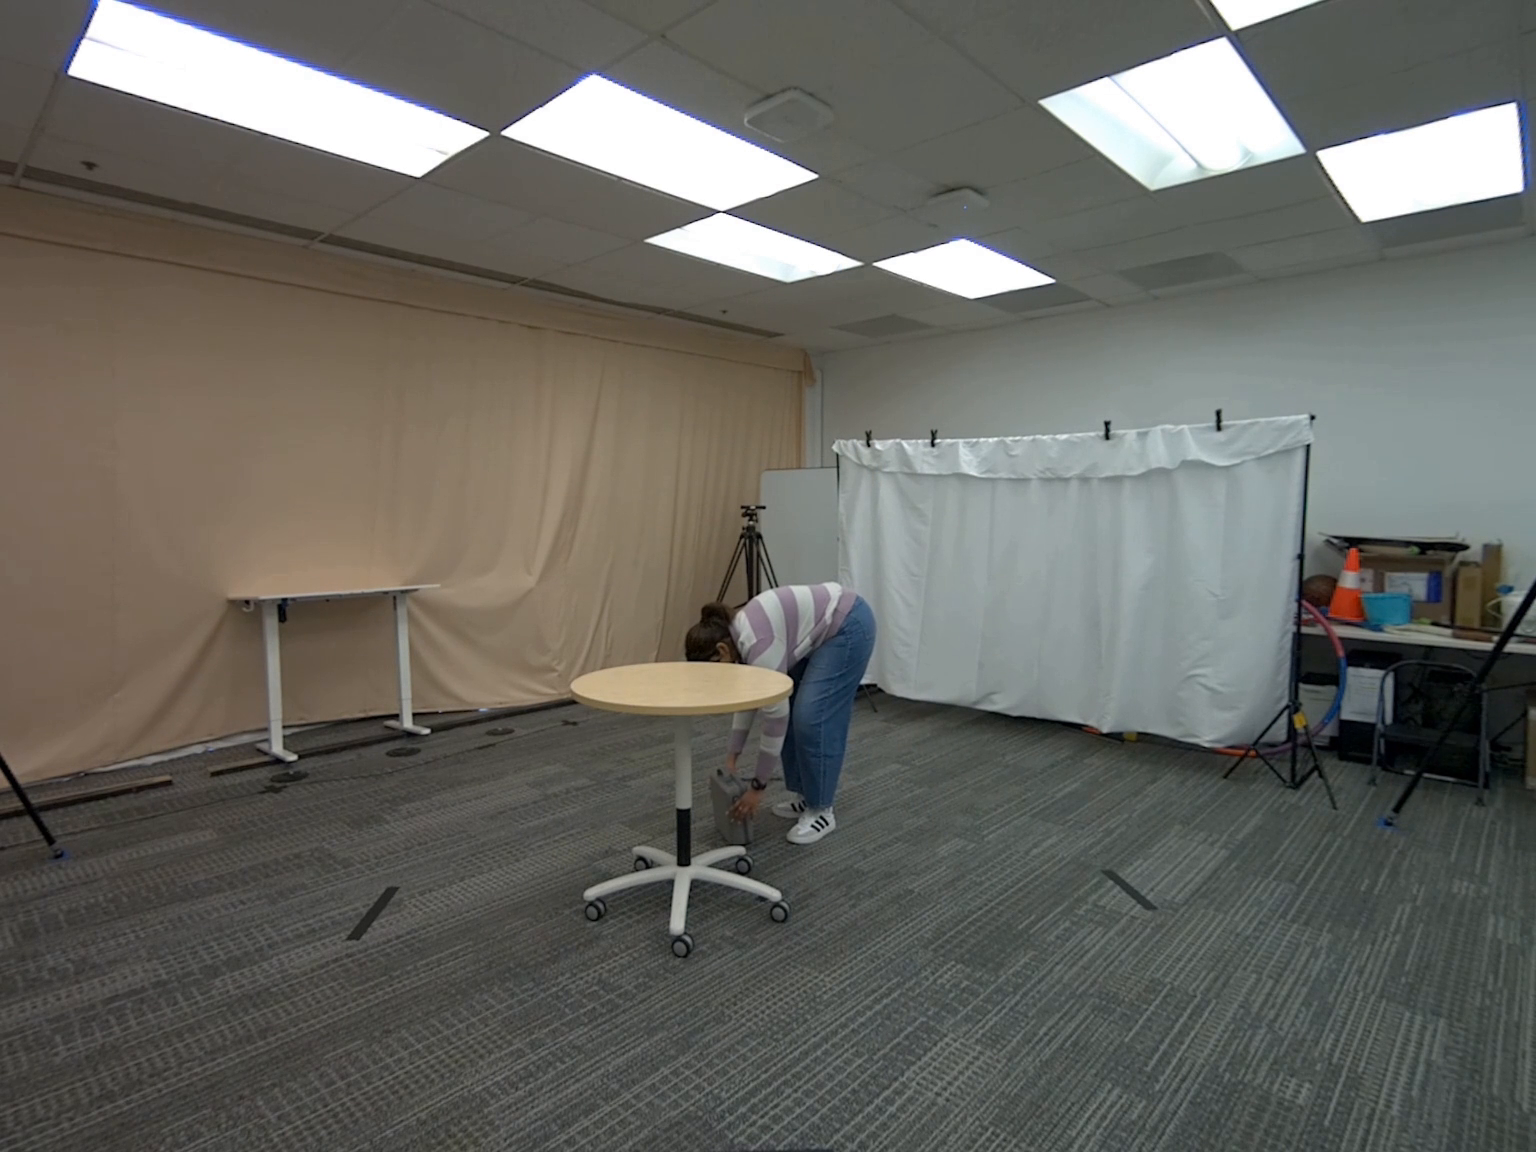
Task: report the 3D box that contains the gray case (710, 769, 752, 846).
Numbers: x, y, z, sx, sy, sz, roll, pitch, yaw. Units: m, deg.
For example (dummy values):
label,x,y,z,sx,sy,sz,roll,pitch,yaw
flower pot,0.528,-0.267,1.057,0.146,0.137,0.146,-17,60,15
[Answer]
label,x,y,z,sx,sy,sz,roll,pitch,yaw
gray case,-0.154,0.968,3.545,0.102,0.259,0.262,-9,6,-20
